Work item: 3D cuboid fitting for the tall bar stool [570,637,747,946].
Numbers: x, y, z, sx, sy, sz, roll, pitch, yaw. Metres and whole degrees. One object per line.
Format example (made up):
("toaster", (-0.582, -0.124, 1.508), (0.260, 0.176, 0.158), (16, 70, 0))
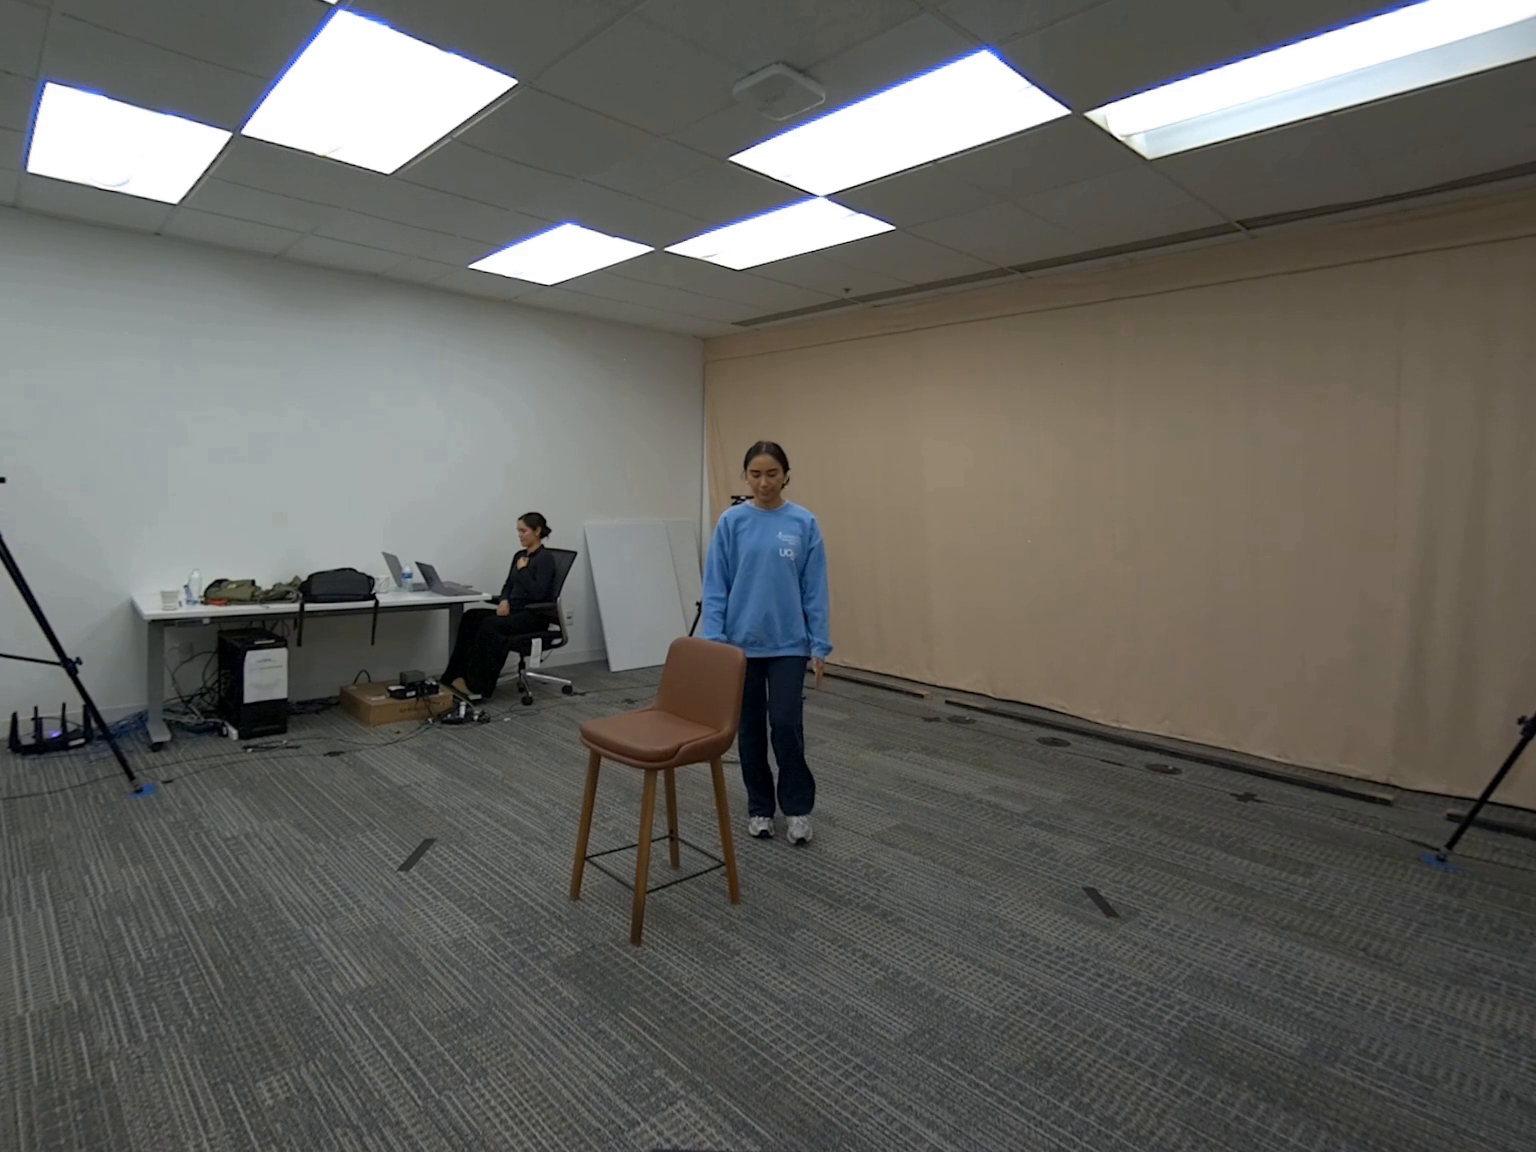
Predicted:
("tall bar stool", (-0.373, 0.684, 2.866), (0.456, 0.888, 0.468), (1, 3, -41))
